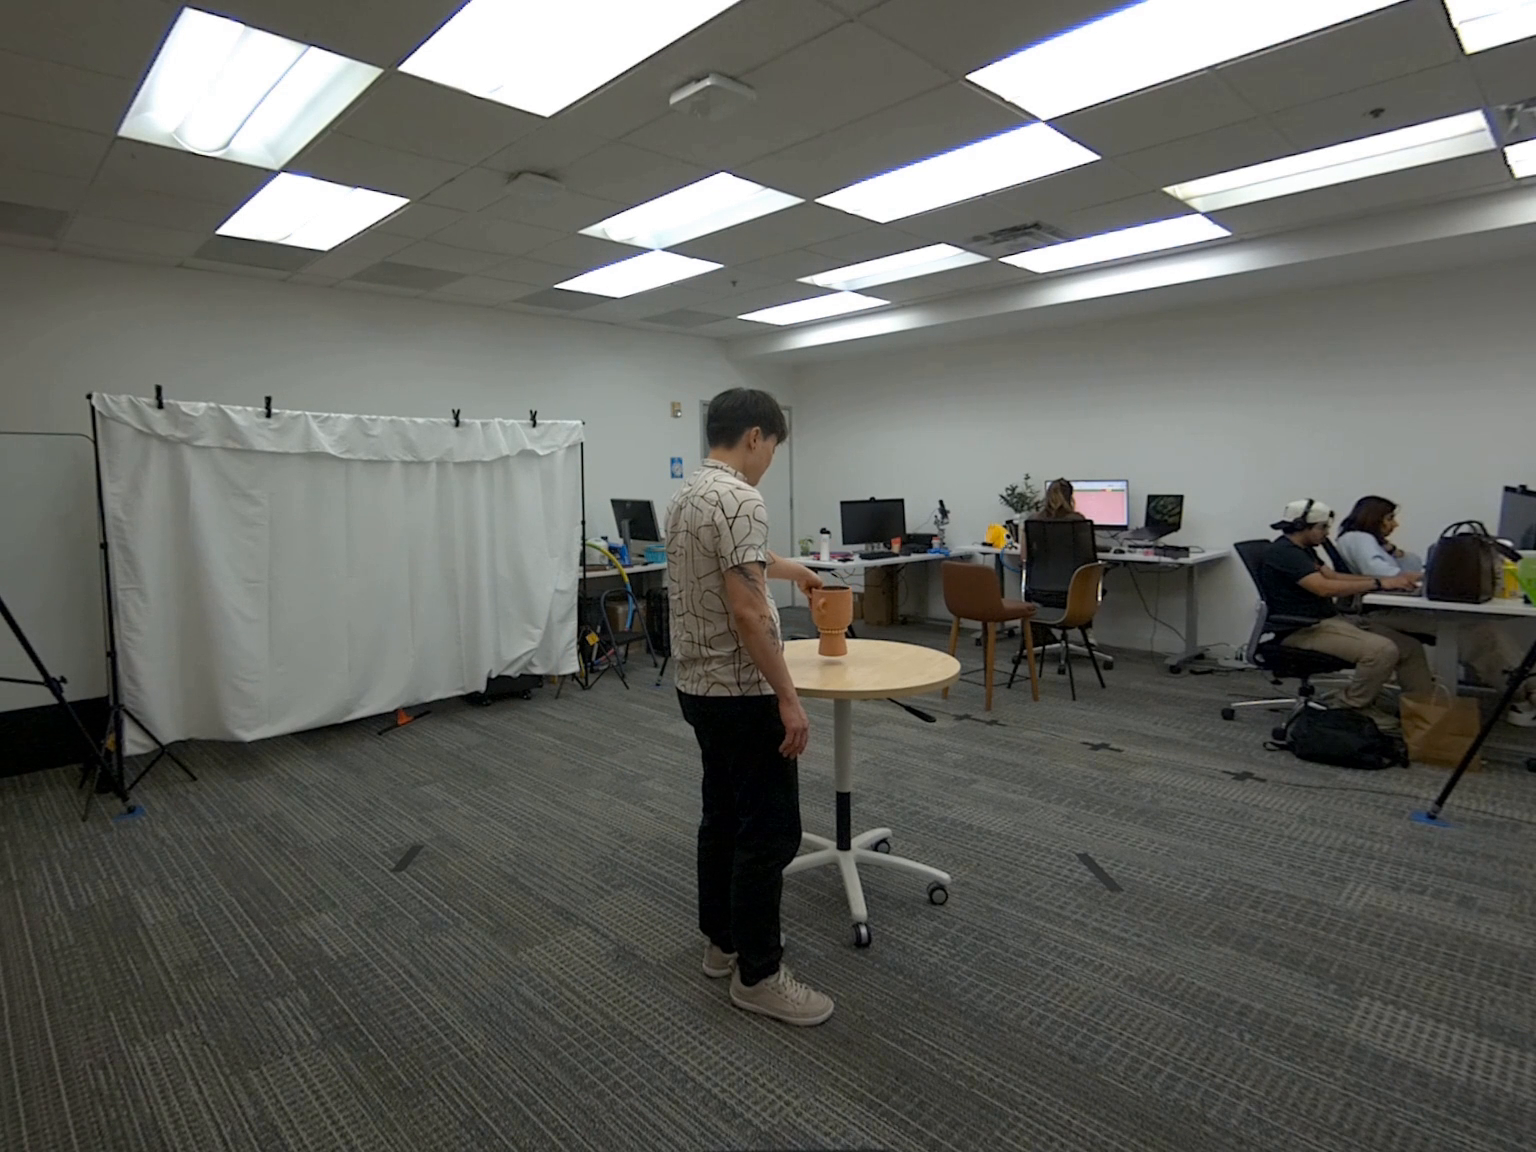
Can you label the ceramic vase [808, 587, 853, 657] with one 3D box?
[{"bbox_3d":[0.221,0.152,2.833,0.156,0.219,0.137,-5,6,-20],"label":"ceramic vase"}]
